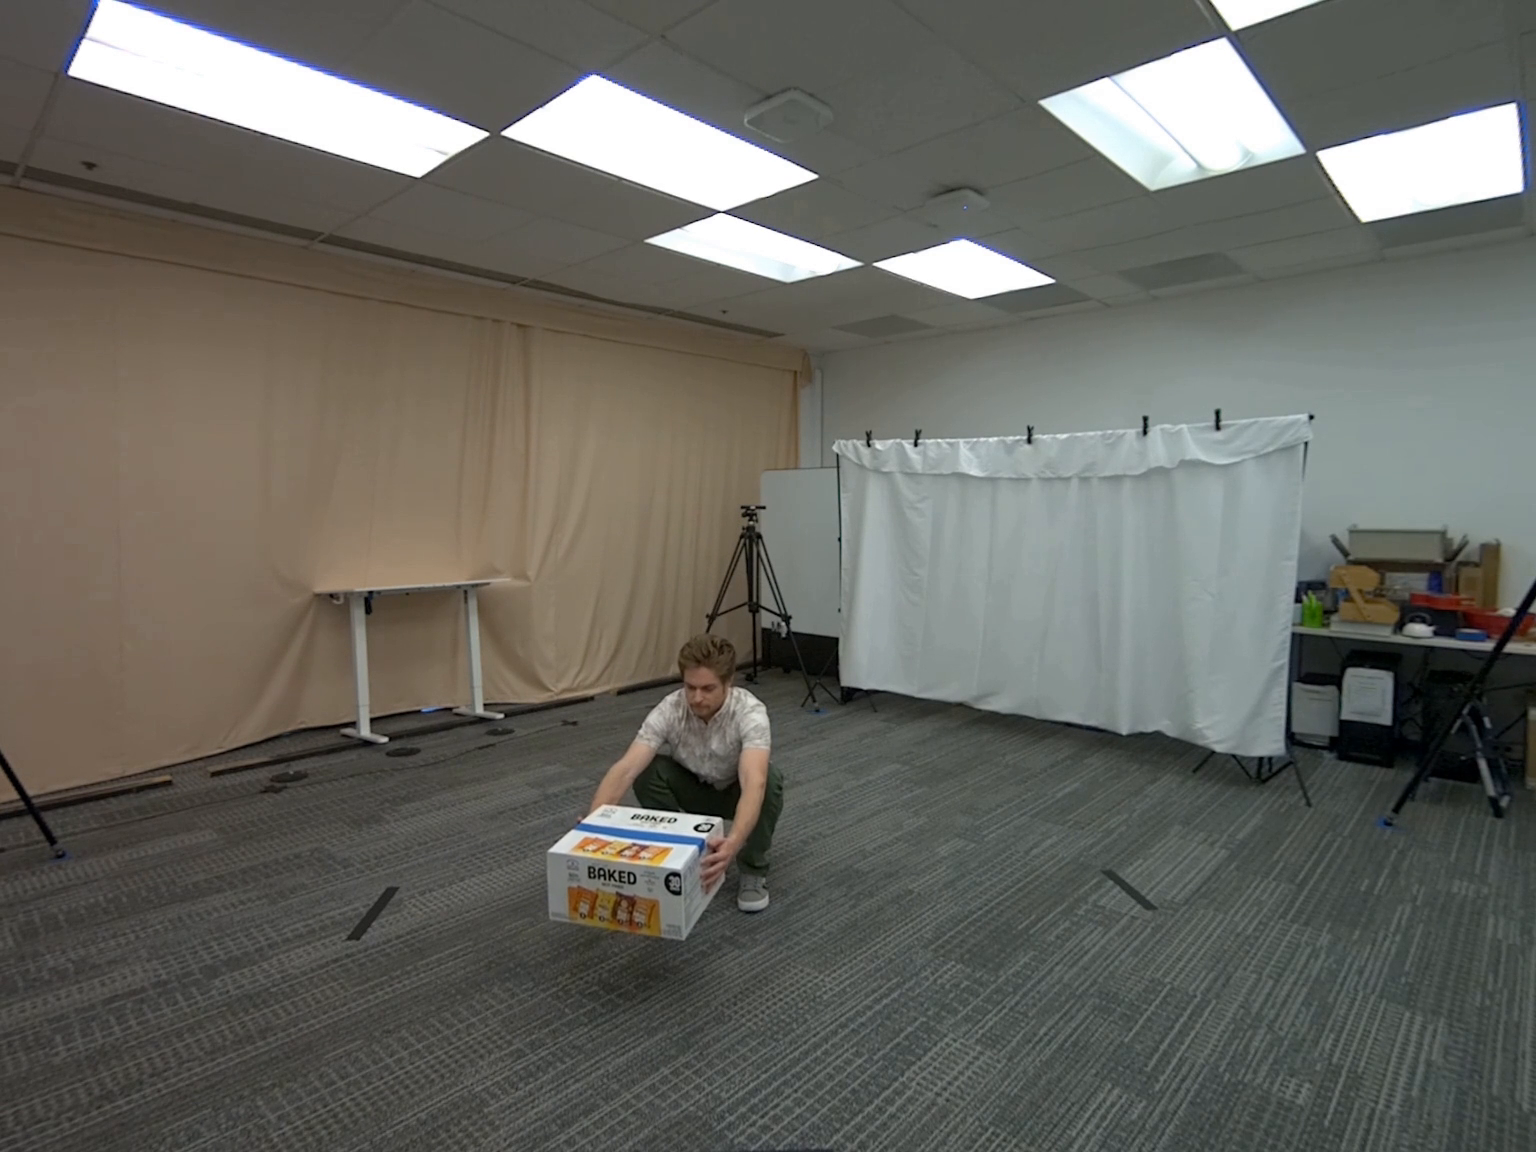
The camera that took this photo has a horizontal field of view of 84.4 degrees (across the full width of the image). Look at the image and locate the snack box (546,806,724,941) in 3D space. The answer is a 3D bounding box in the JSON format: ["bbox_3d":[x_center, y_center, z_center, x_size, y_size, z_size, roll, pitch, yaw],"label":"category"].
[{"bbox_3d":[-0.371,0.839,2.442,0.413,0.205,0.335,1,8,17],"label":"snack box"}]
